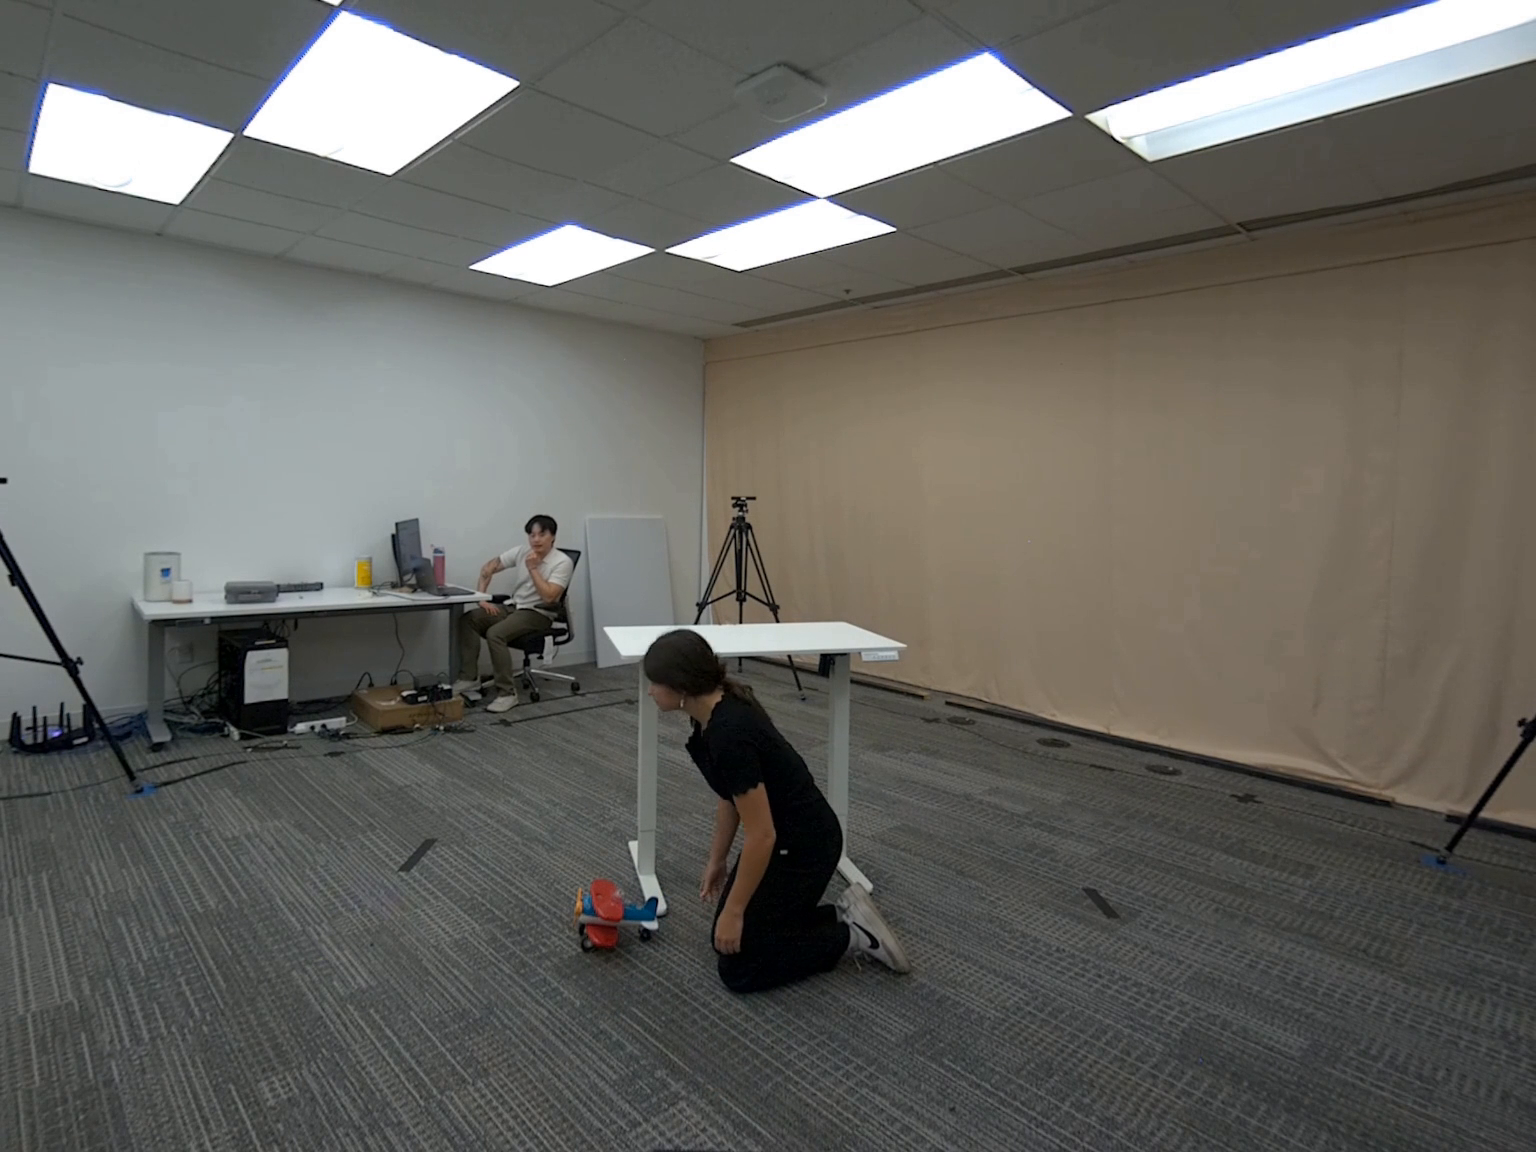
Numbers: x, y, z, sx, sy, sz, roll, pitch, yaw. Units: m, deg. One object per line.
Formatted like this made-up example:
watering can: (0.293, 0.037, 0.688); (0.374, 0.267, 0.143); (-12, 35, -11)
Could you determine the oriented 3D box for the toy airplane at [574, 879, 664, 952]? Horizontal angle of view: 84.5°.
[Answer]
toy airplane: (-0.483, 1.057, 2.646); (0.253, 0.156, 0.258); (-5, 9, -43)
